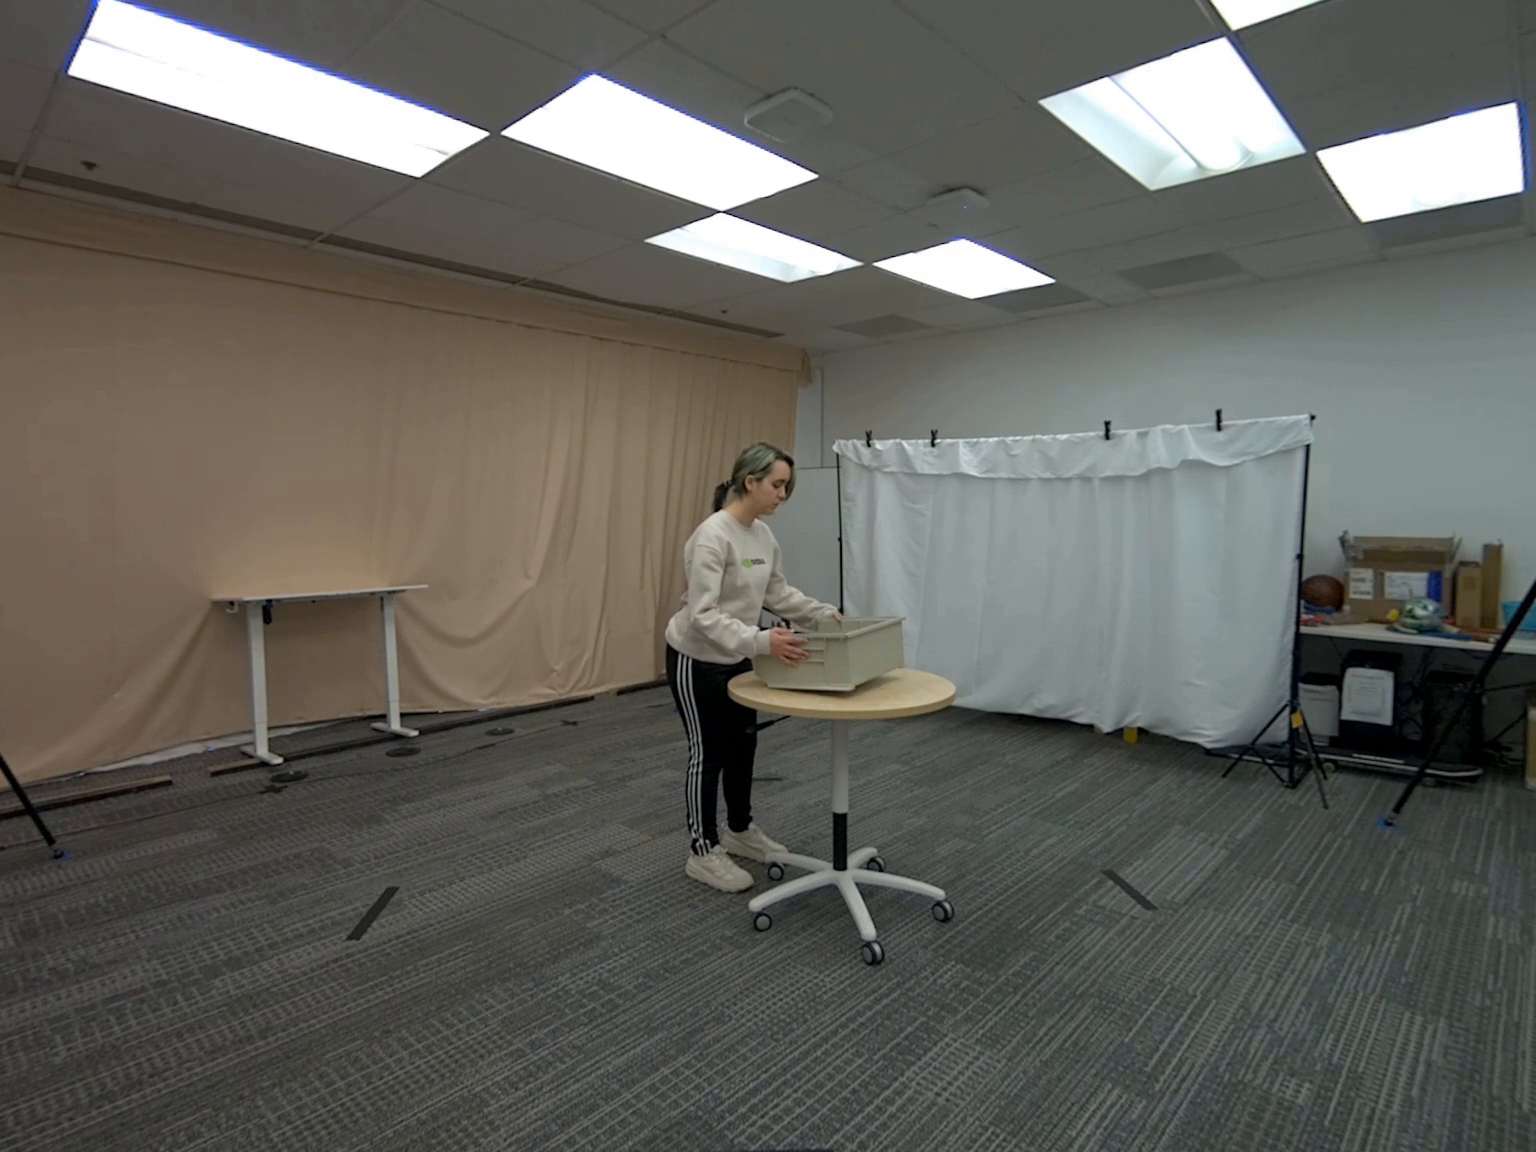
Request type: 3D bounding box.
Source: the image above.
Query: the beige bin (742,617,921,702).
[{"bbox_3d":[0.221,0.253,2.889,0.389,0.188,0.410,-1,4,36],"label":"beige bin"}]
